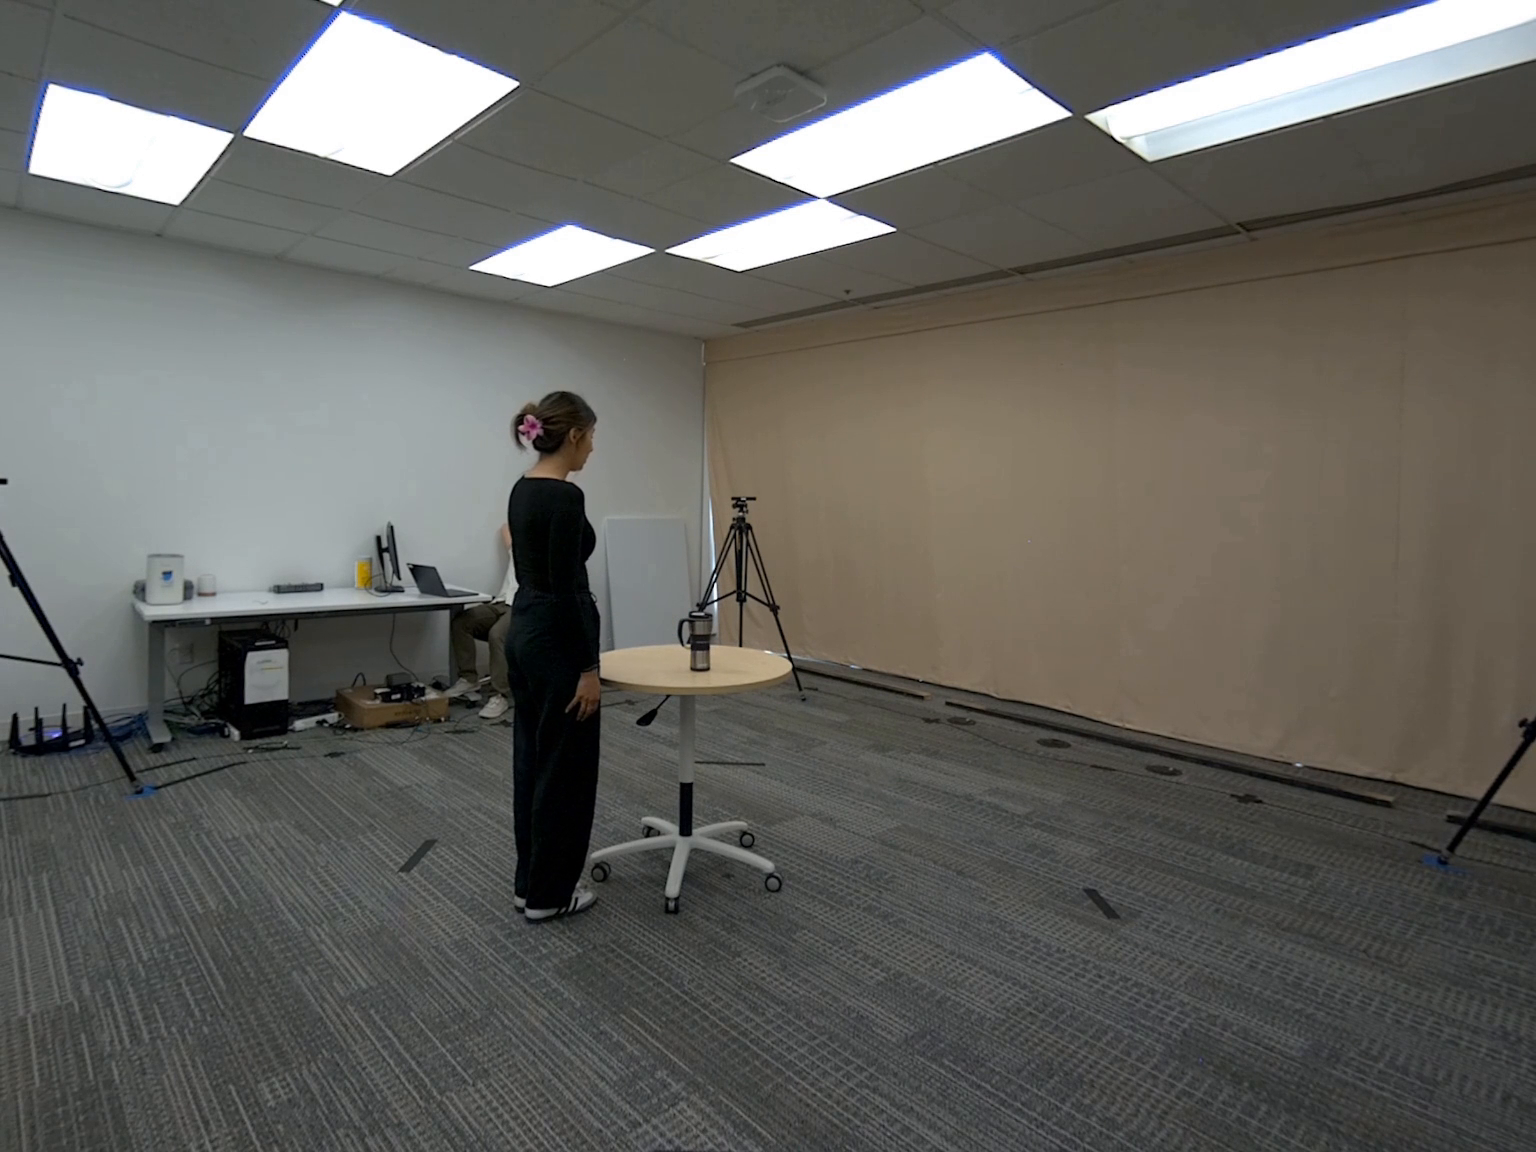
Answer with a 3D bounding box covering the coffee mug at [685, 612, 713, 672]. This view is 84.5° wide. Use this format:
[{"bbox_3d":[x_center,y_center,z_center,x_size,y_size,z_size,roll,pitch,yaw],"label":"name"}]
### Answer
[{"bbox_3d":[-0.261,0.236,2.985,0.125,0.202,0.086,4,10,32],"label":"coffee mug"}]
